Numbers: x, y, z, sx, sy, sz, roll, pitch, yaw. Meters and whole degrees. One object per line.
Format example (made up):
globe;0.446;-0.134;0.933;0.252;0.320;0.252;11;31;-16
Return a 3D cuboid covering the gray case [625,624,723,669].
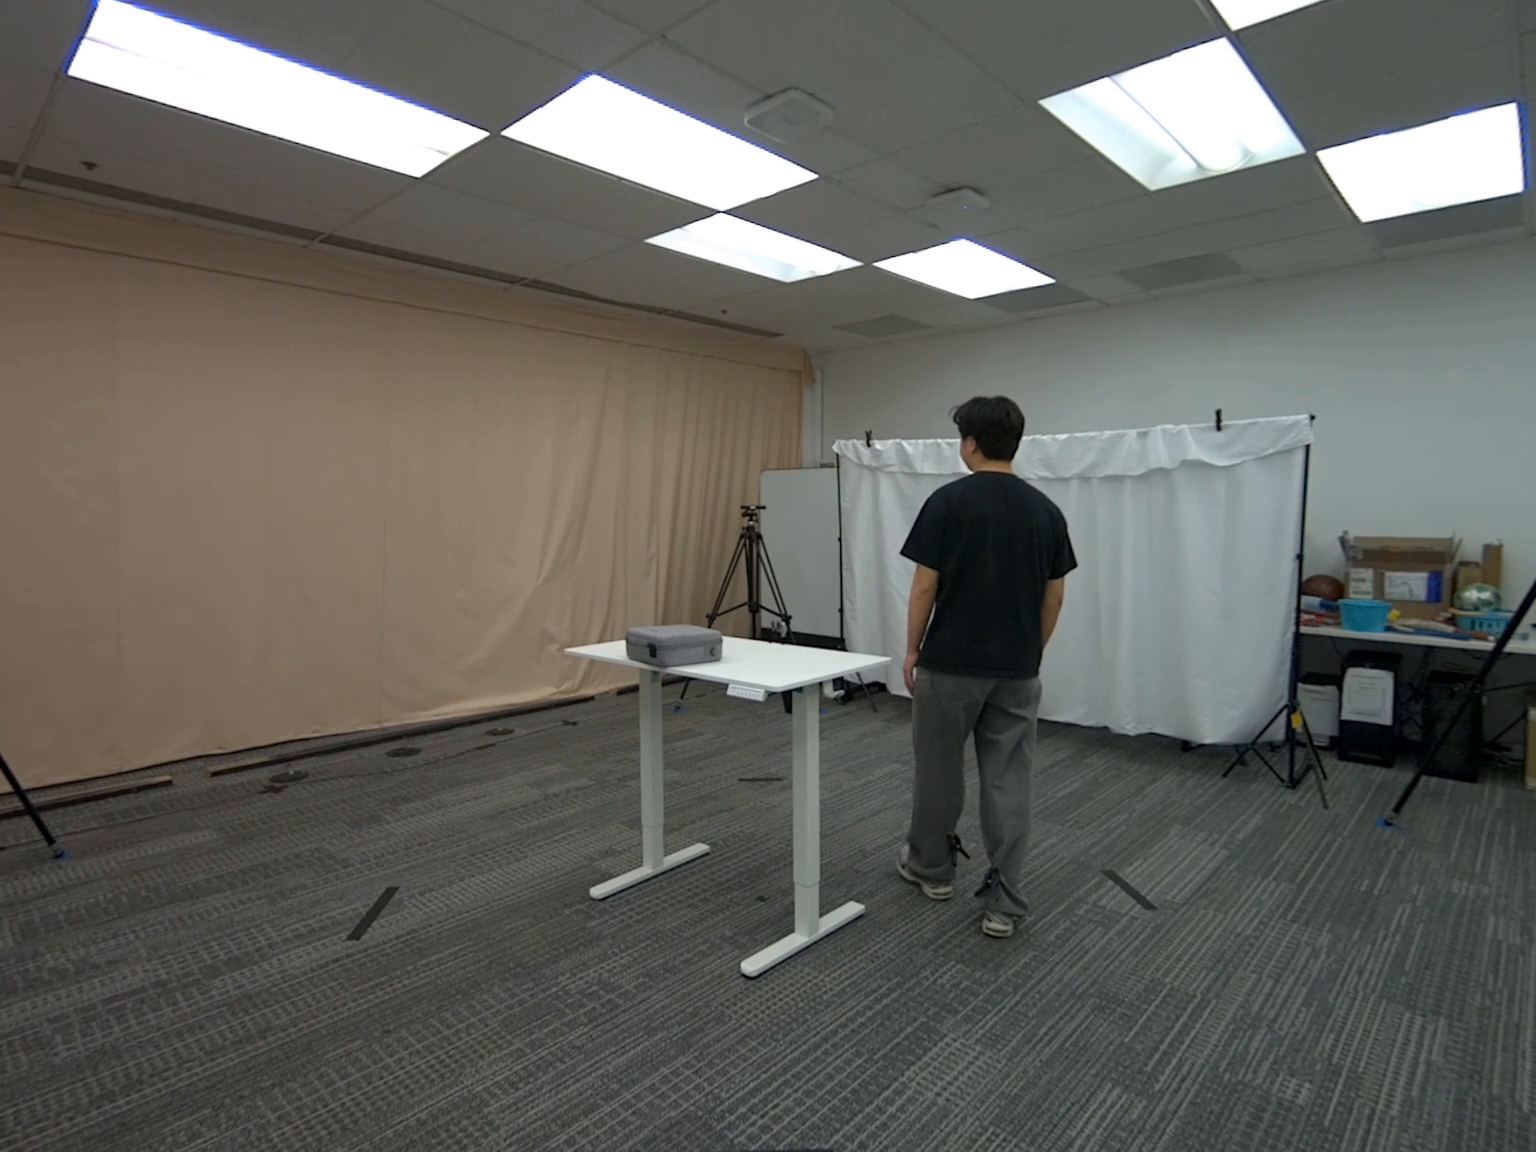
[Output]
gray case;-0.313;0.228;2.800;0.253;0.104;0.265;-3;4;-34
